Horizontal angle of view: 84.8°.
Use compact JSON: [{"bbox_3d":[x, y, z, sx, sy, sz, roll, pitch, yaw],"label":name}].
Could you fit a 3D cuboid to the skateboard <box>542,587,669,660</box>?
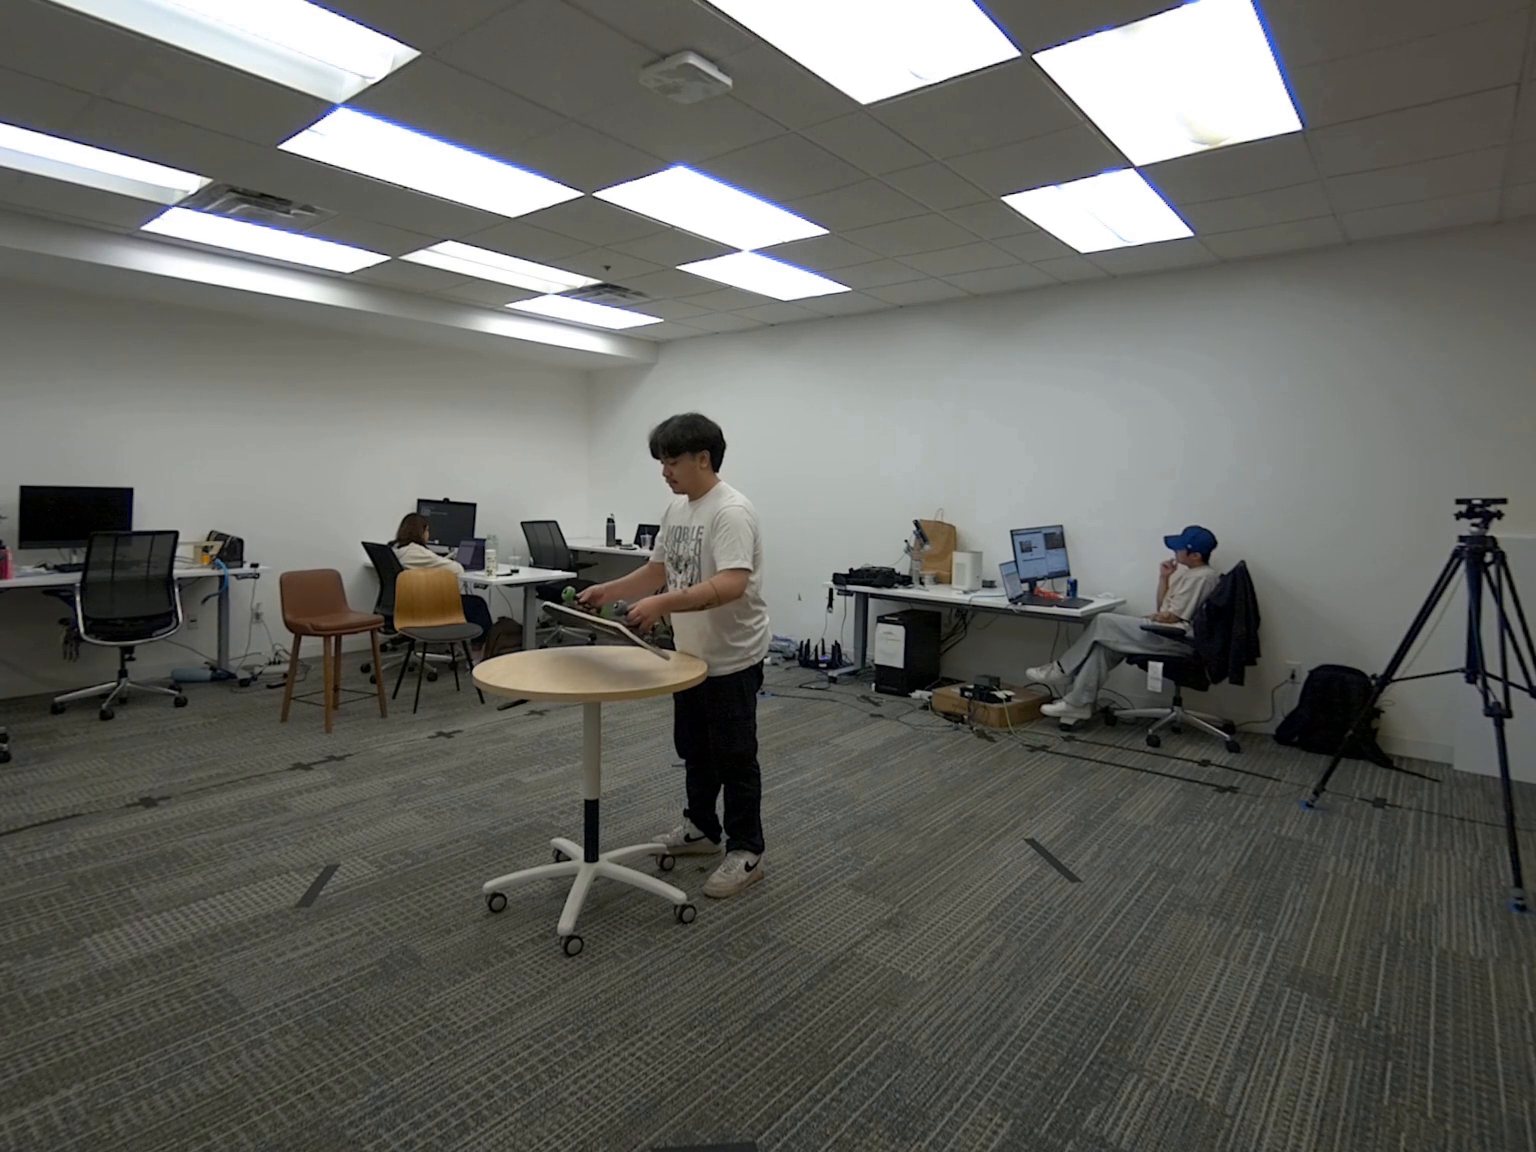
[{"bbox_3d":[-0.551,0.146,2.839,0.186,0.111,0.812,35,-14,-34],"label":"skateboard"}]
